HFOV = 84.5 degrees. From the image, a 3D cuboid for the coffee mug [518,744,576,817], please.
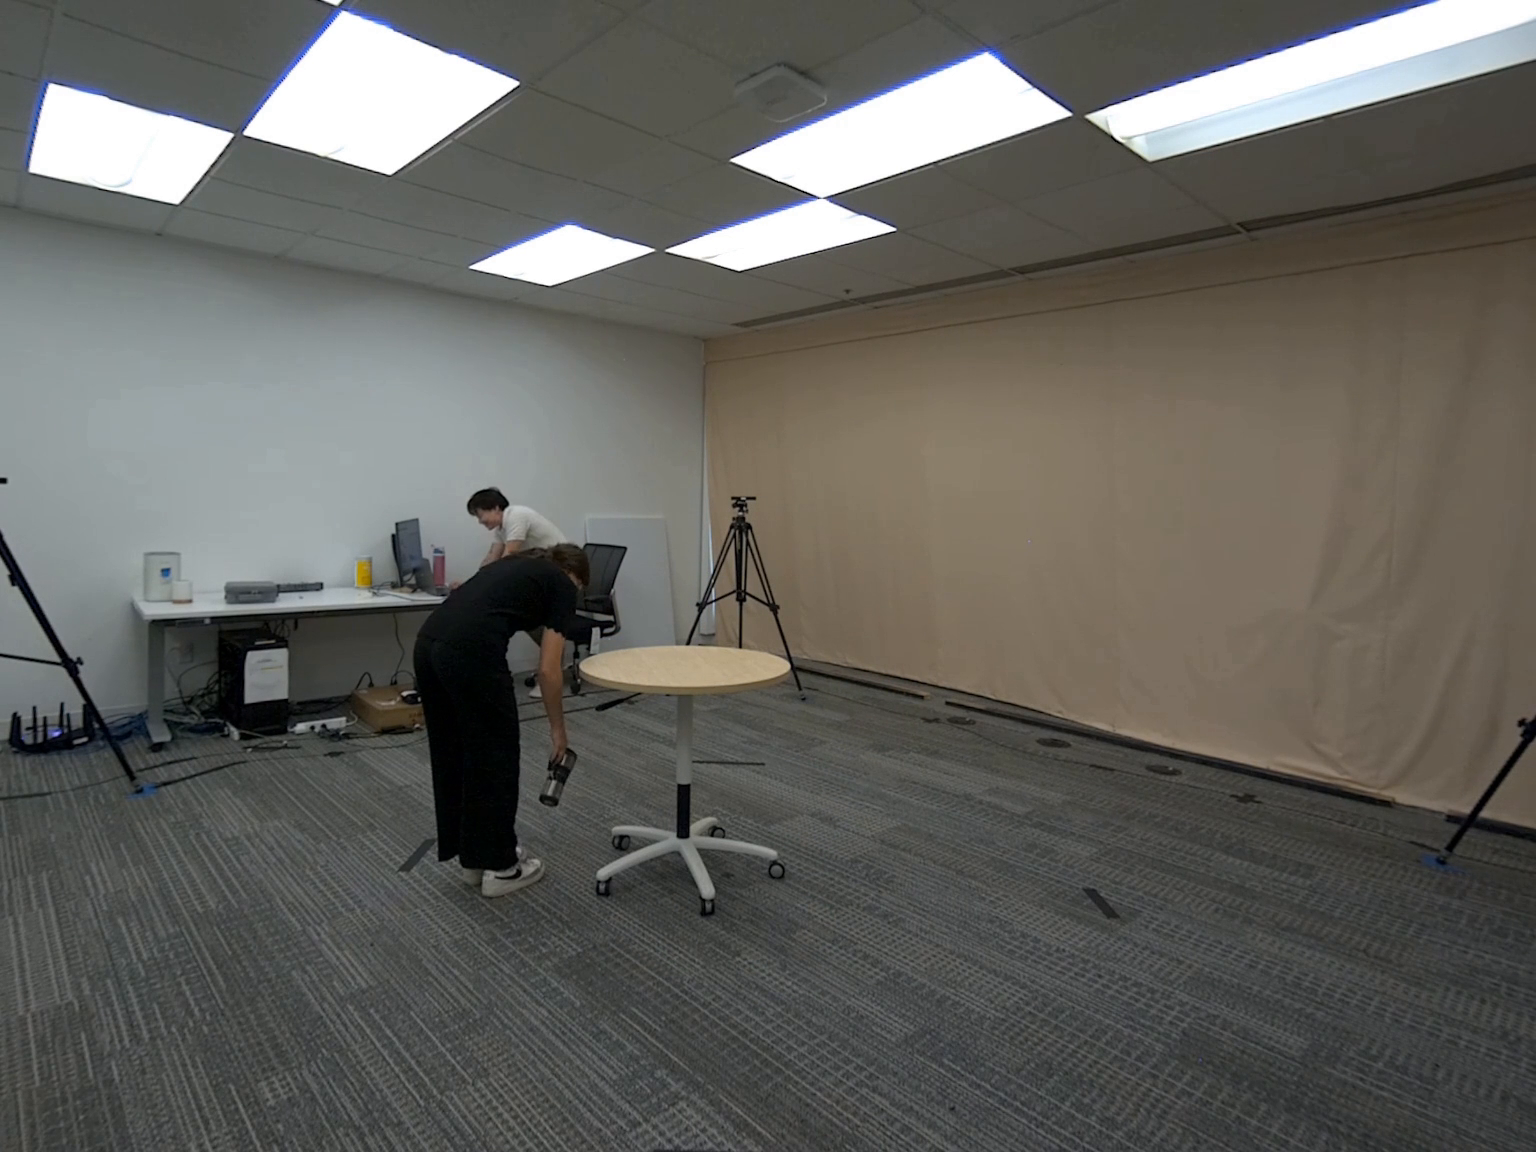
[{"bbox_3d":[-0.803,0.739,3.068,0.121,0.206,0.087,23,-38,-8],"label":"coffee mug"}]
